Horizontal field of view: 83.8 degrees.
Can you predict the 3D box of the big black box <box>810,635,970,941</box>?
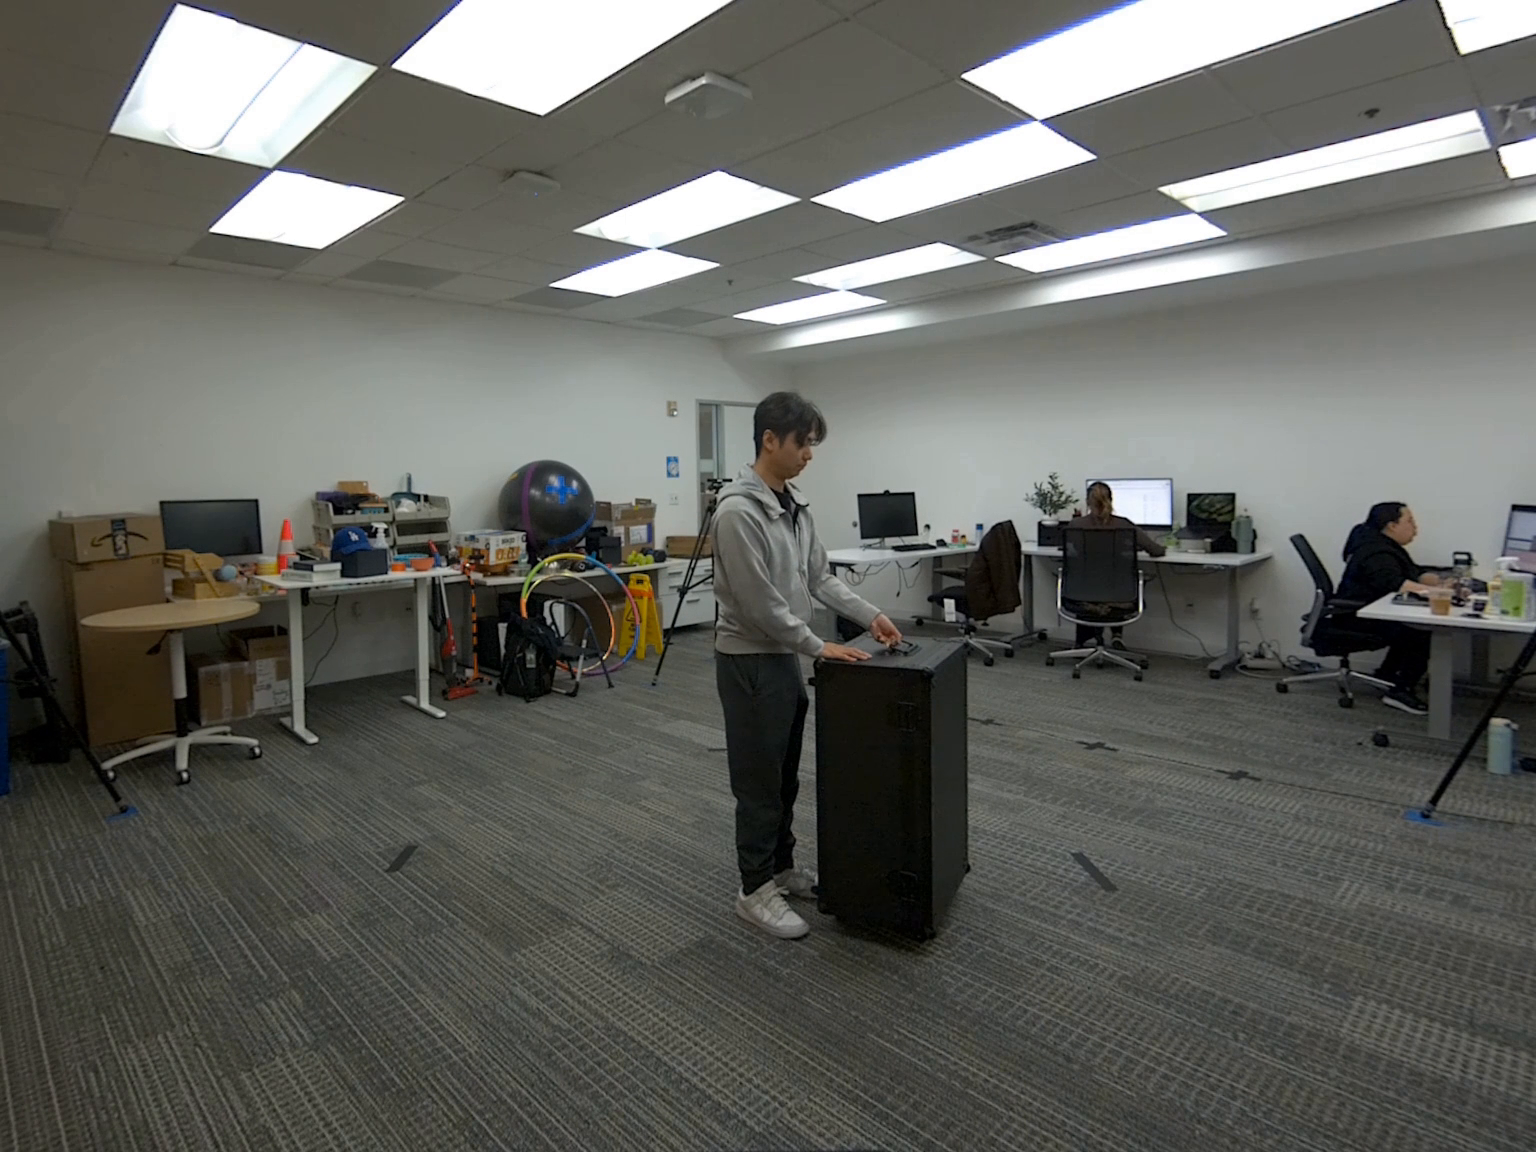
[{"bbox_3d":[0.398,0.653,2.721,0.405,0.858,0.511,0,5,26],"label":"big black box"}]
